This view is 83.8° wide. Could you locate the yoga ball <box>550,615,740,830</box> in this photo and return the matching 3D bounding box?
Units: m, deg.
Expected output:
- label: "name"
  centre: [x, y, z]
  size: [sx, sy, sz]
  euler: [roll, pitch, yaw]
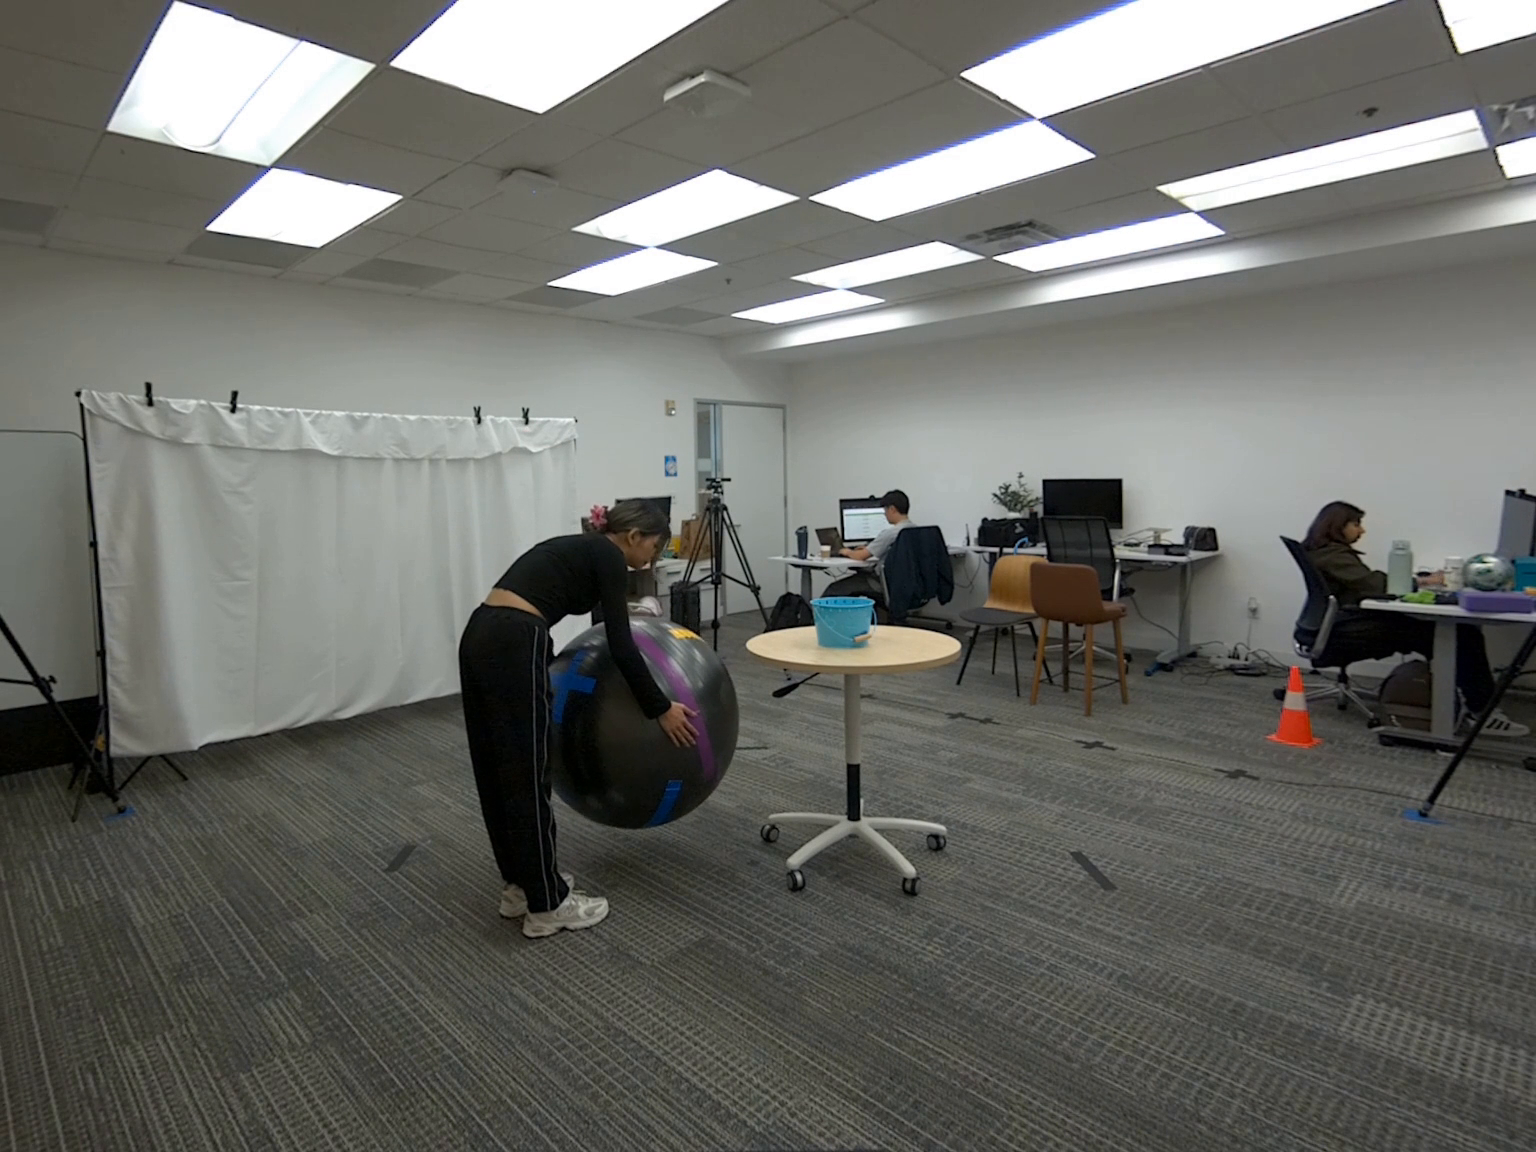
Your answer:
- label: "yoga ball"
  centre: [-0.481, 0.533, 3.141]
  size: [0.757, 0.755, 0.762]
  euler: [-1, 5, -2]
